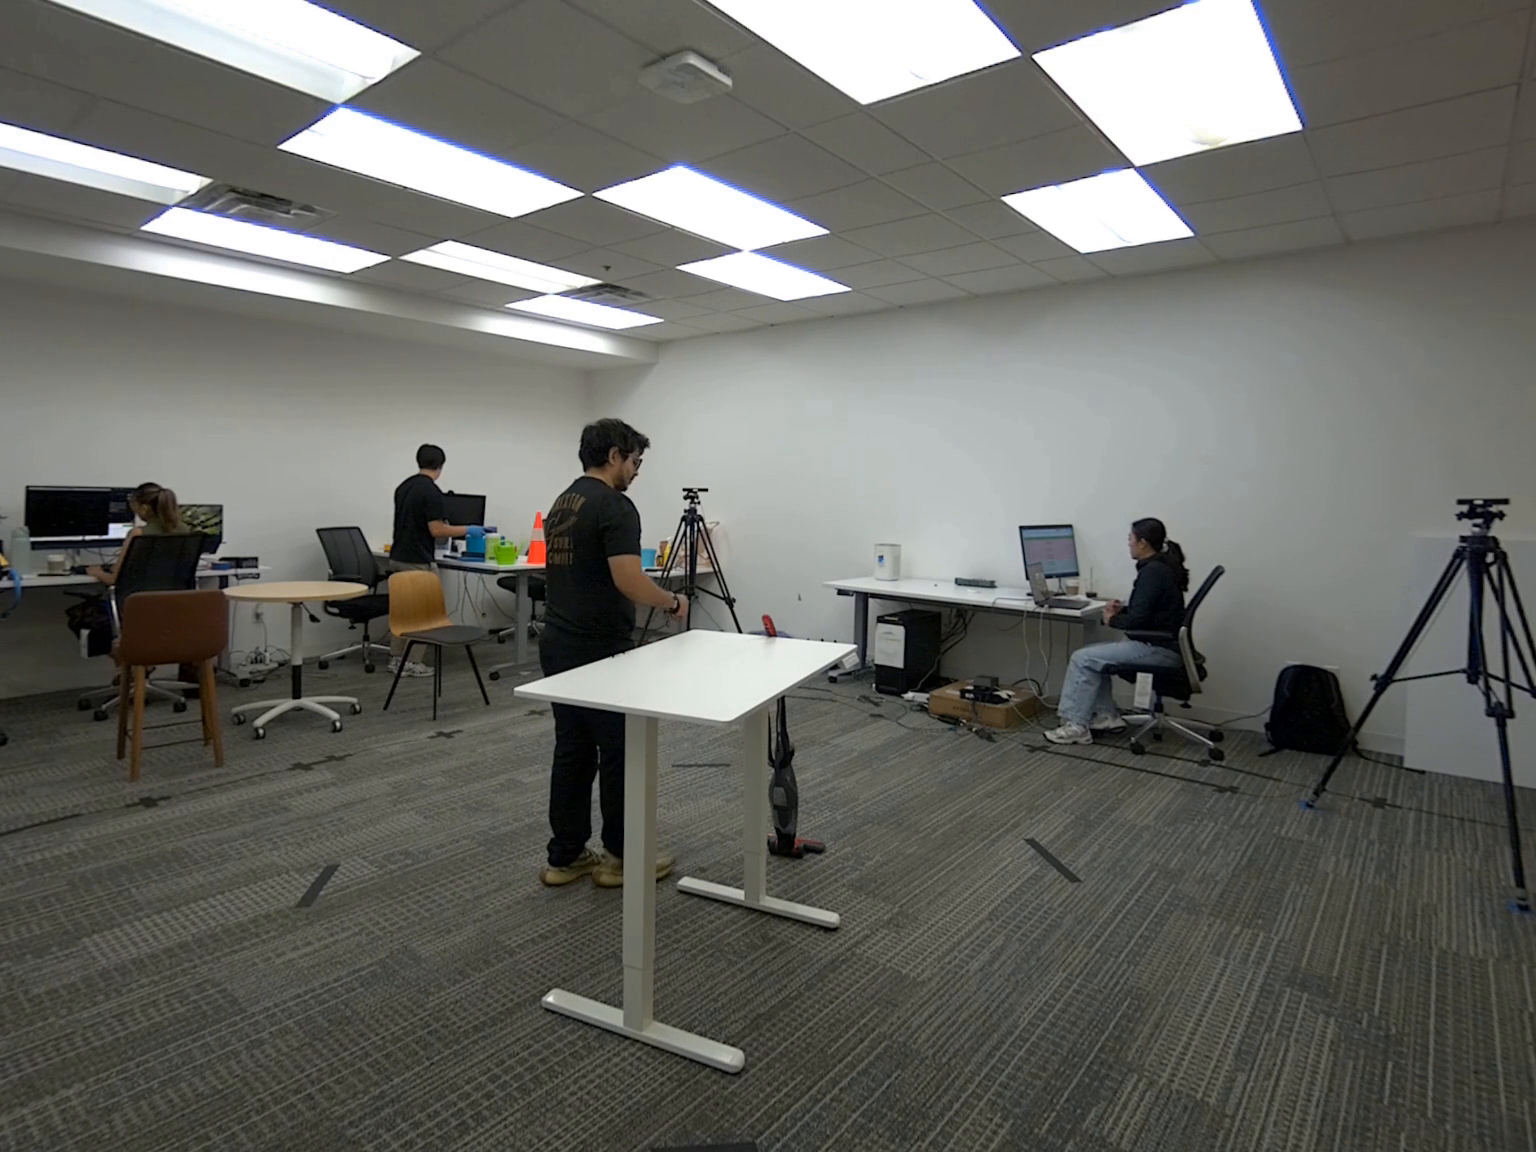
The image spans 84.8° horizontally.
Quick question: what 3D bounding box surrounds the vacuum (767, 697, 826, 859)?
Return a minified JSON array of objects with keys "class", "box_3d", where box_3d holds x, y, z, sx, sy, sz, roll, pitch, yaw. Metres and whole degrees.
[{"class":"vacuum","box_3d":[0.036,0.603,3.077,0.258,1.023,0.144,3,27,19]}]
